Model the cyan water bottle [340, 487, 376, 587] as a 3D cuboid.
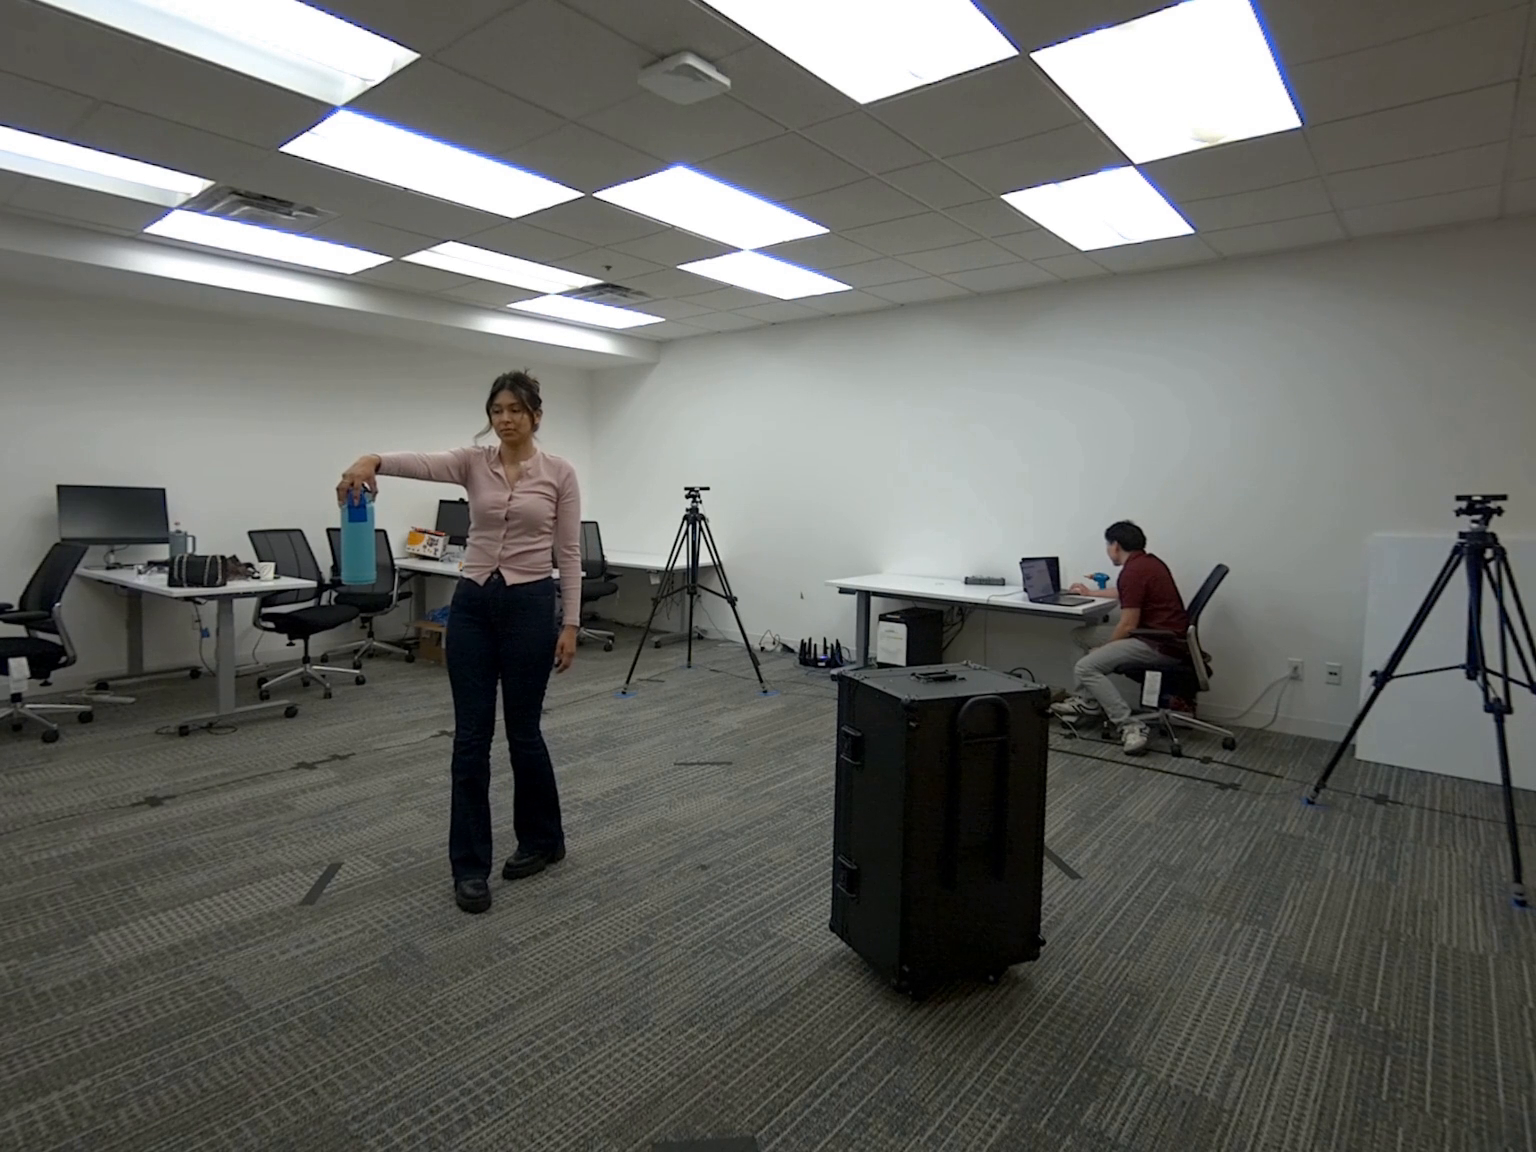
[{"bbox_3d":[-1.171,-0.123,2.387,0.092,0.282,0.093,3,5,-2],"label":"cyan water bottle"}]
